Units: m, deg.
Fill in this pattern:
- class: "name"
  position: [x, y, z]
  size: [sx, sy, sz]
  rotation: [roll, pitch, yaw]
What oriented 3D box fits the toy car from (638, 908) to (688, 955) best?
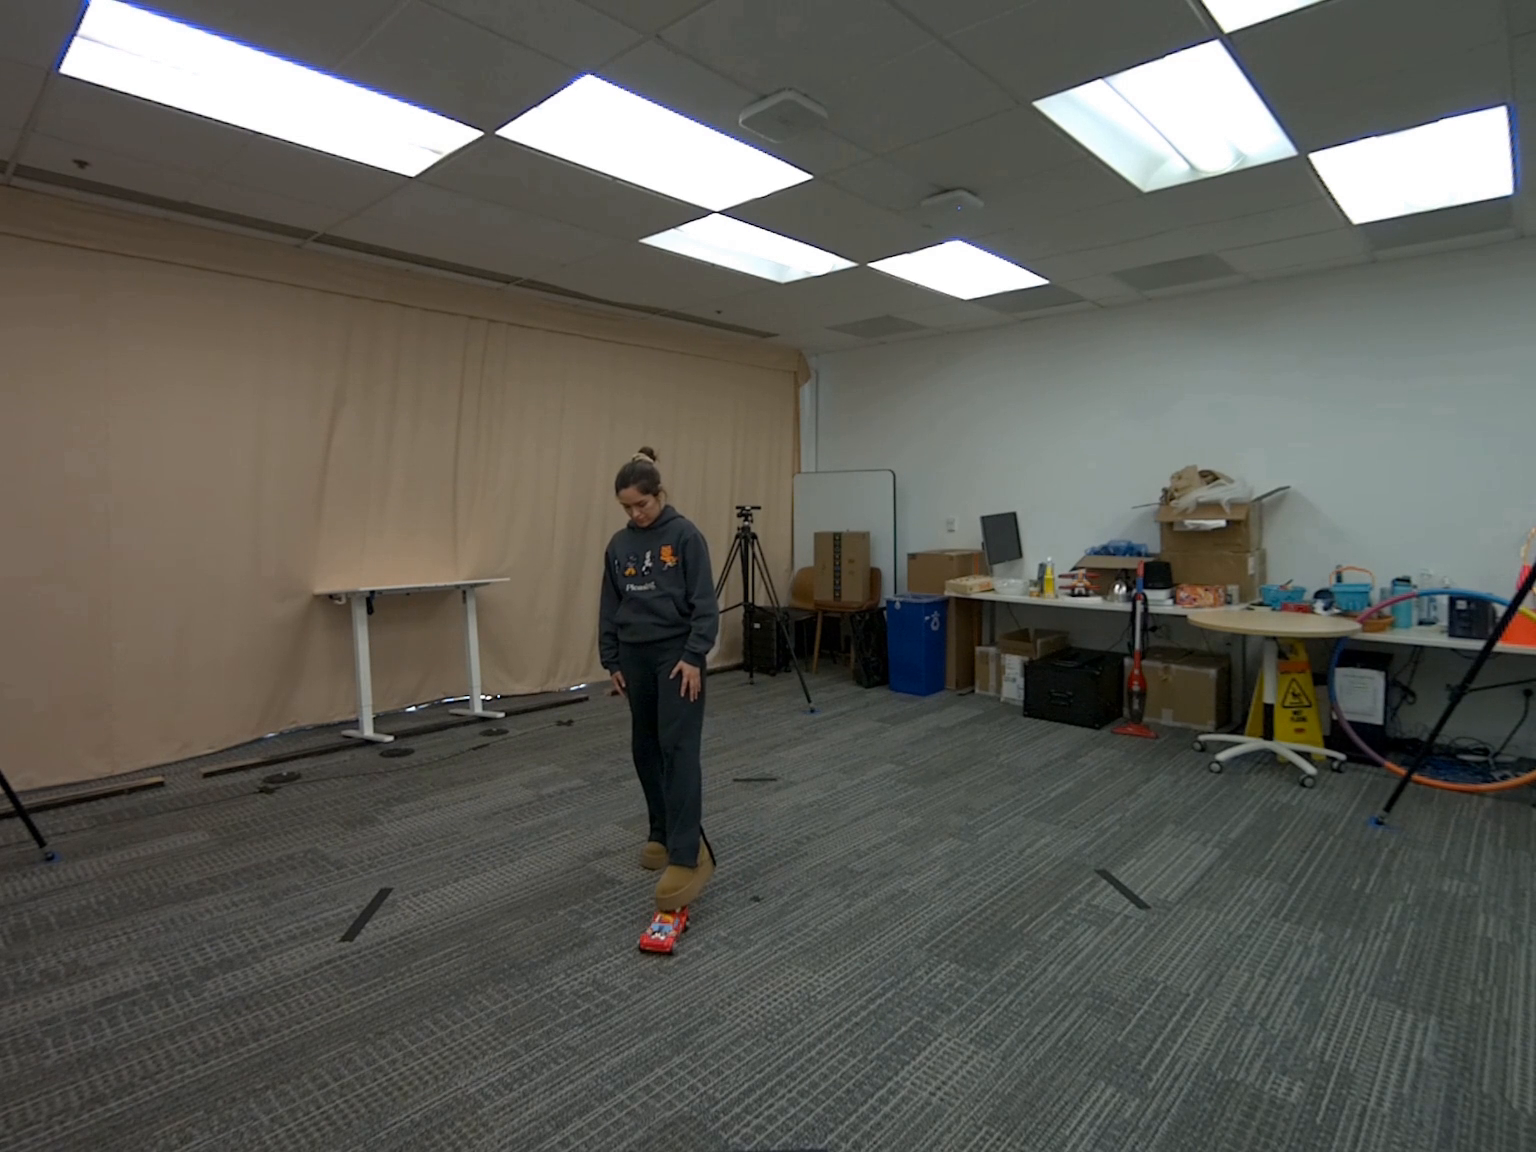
- class: "toy car"
  position: [-0.314, 1.135, 2.721]
  size: [0.132, 0.082, 0.253]
  rotation: [-1, 13, 12]
